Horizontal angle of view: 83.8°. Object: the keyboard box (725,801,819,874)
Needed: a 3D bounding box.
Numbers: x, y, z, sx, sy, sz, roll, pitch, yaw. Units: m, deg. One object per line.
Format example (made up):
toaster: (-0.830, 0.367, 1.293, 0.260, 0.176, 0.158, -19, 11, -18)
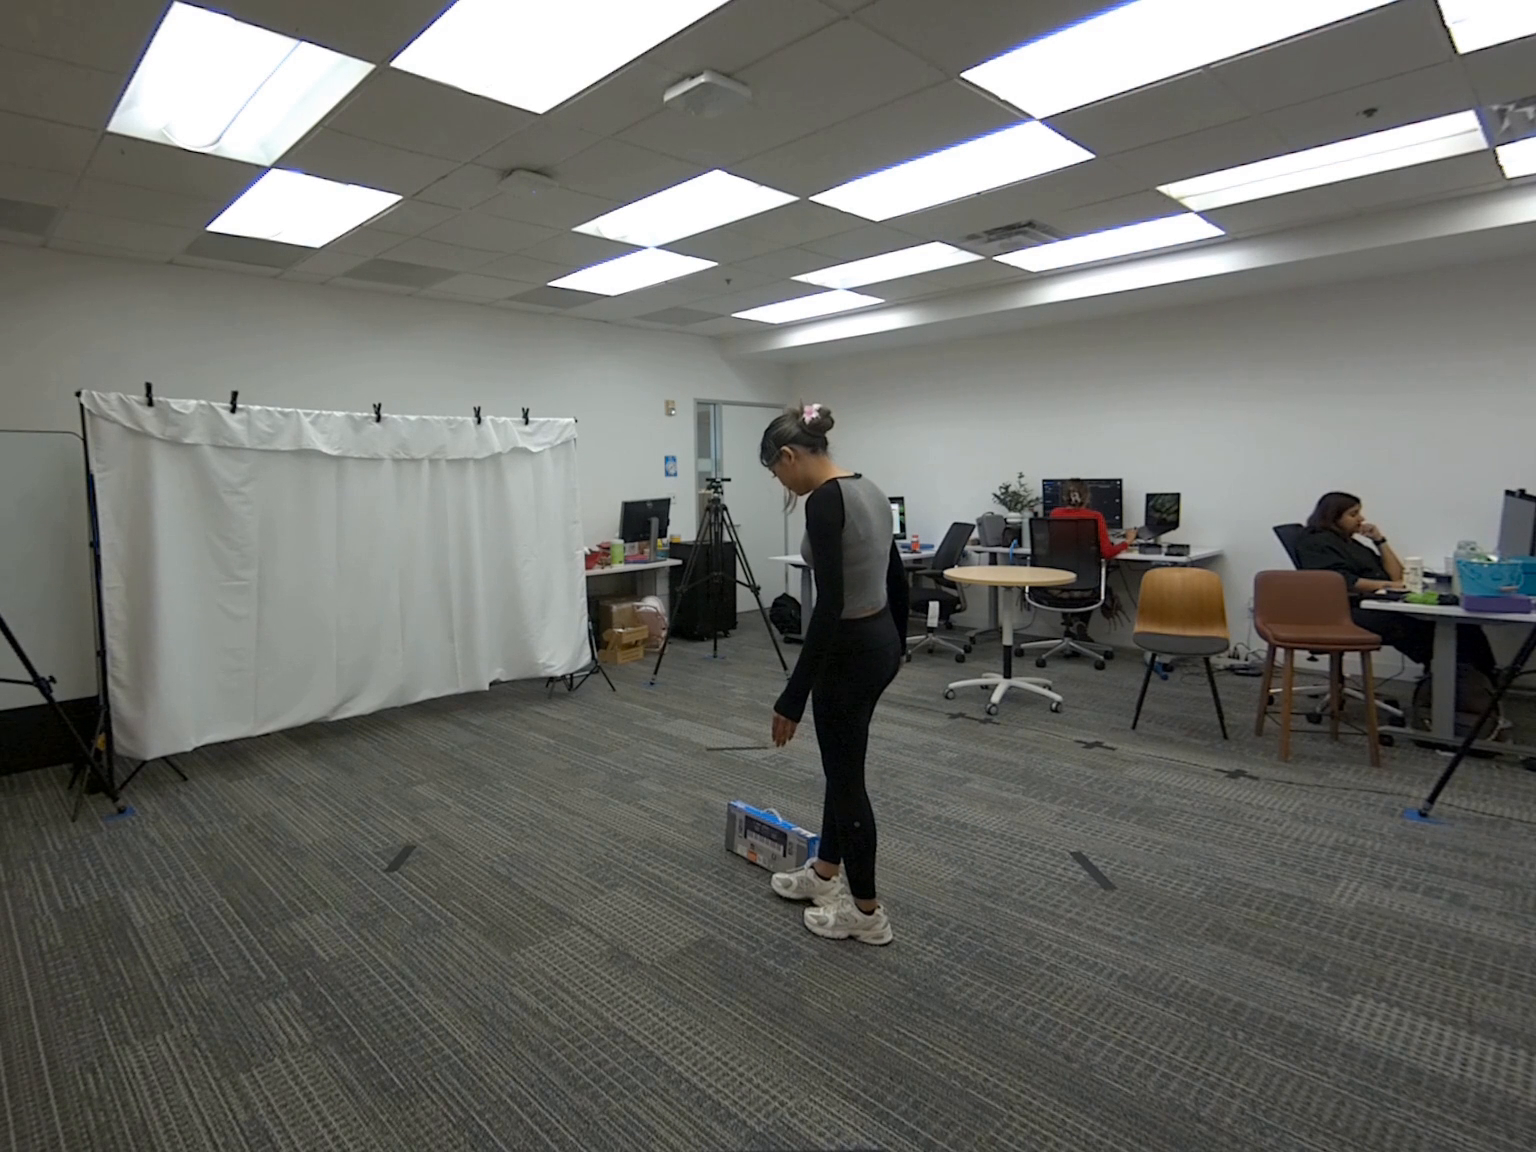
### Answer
keyboard box: (0.010, 0.959, 3.071, 0.057, 0.176, 0.450, 4, 1, -41)
